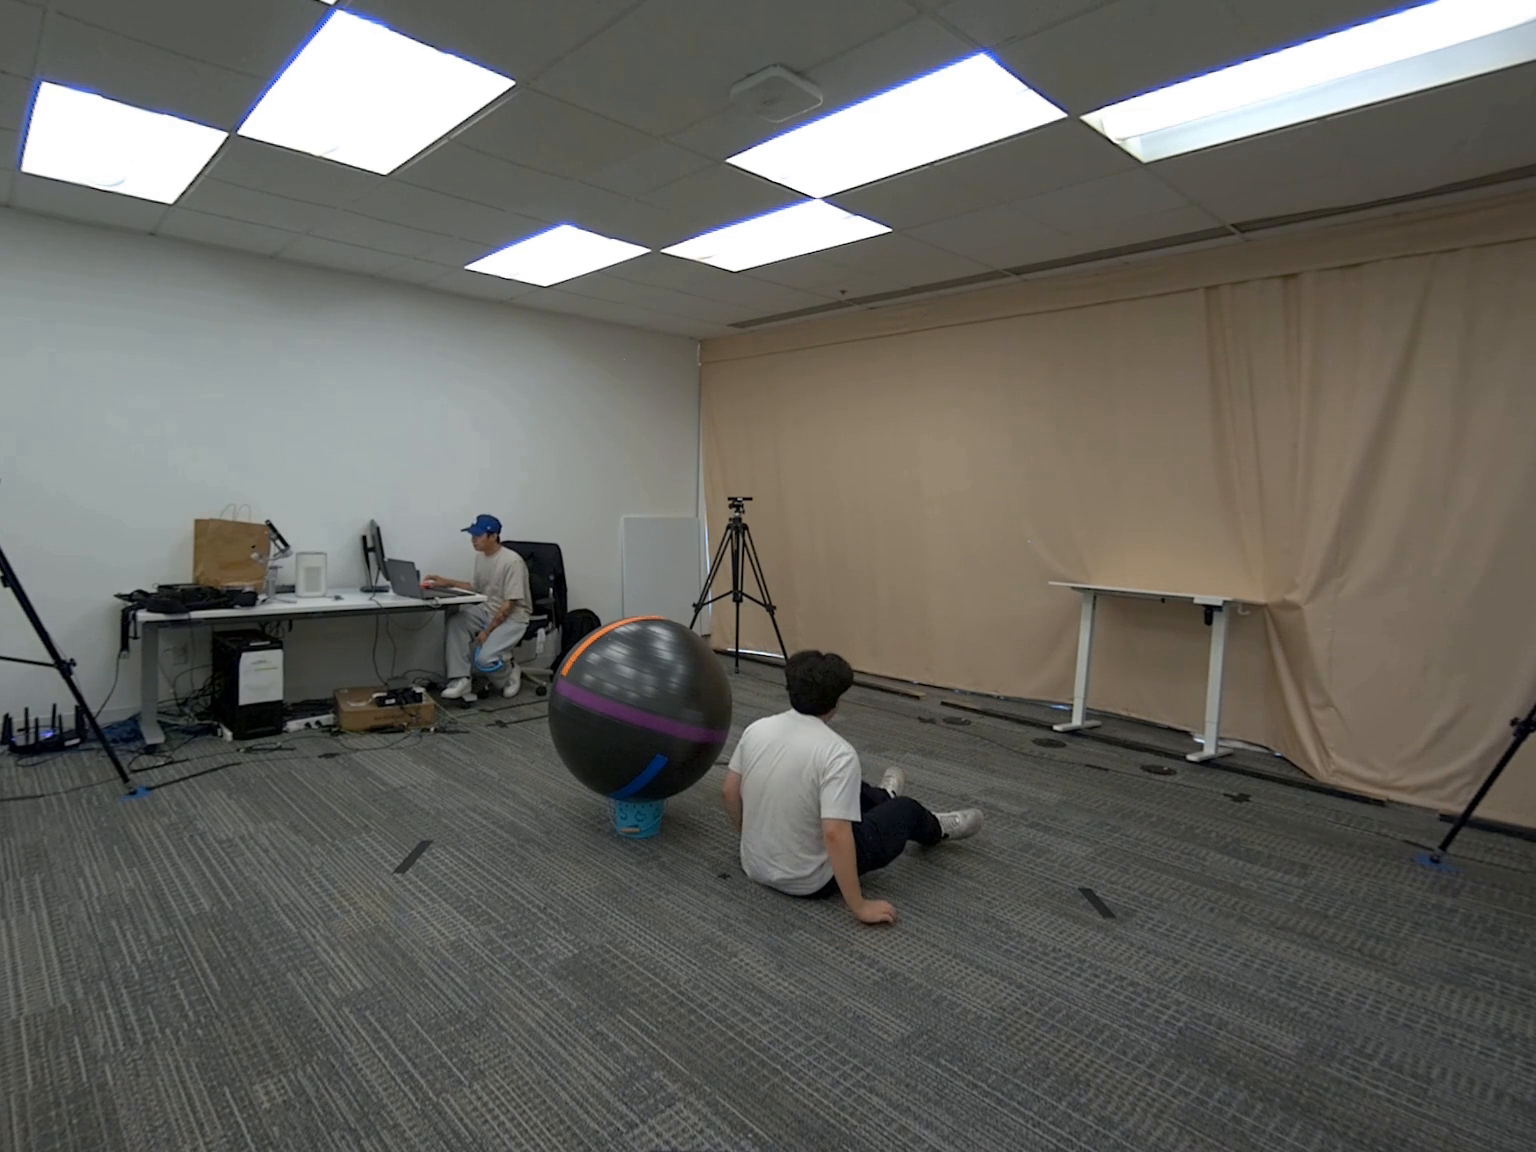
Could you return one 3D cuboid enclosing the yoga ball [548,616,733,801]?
[{"bbox_3d":[-0.544,0.554,3.529,0.757,0.756,0.761,1,4,-1],"label":"yoga ball"}]
